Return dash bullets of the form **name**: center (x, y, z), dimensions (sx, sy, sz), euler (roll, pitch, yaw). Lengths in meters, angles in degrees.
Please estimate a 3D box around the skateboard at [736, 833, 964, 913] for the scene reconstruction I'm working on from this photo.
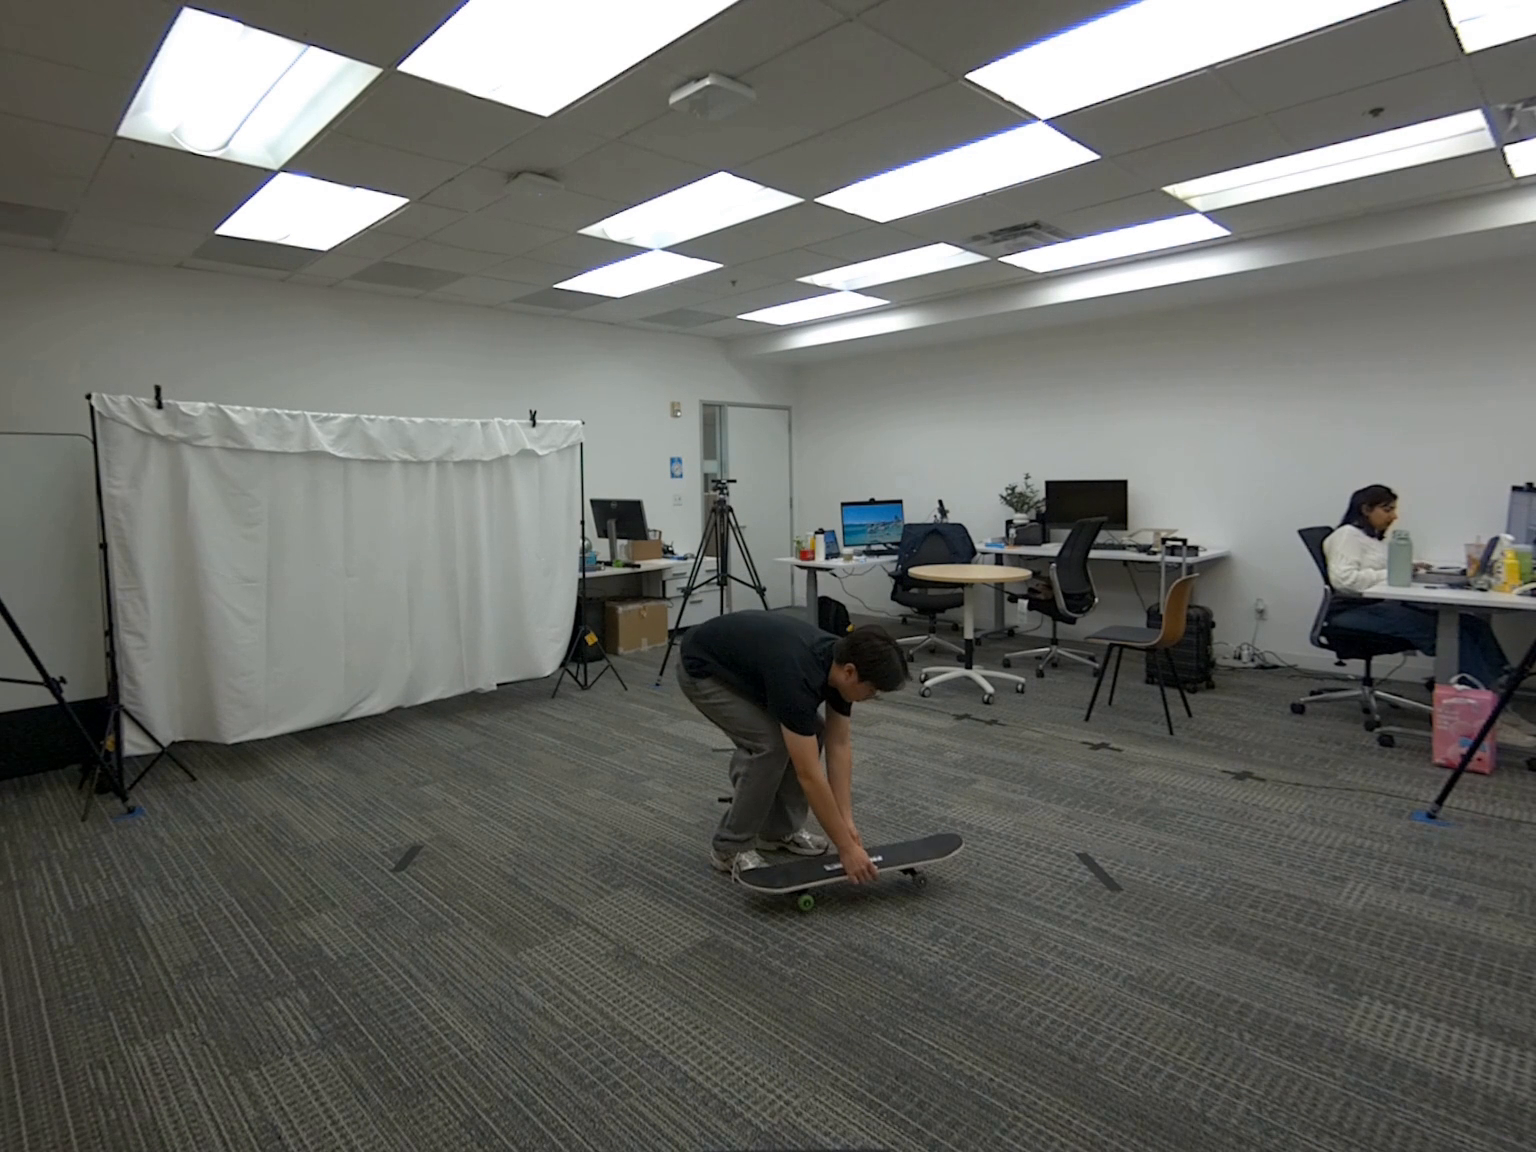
- **skateboard**: center (0.290, 0.975, 2.854), dimensions (0.777, 0.110, 0.196), euler (-6, 4, -12)
